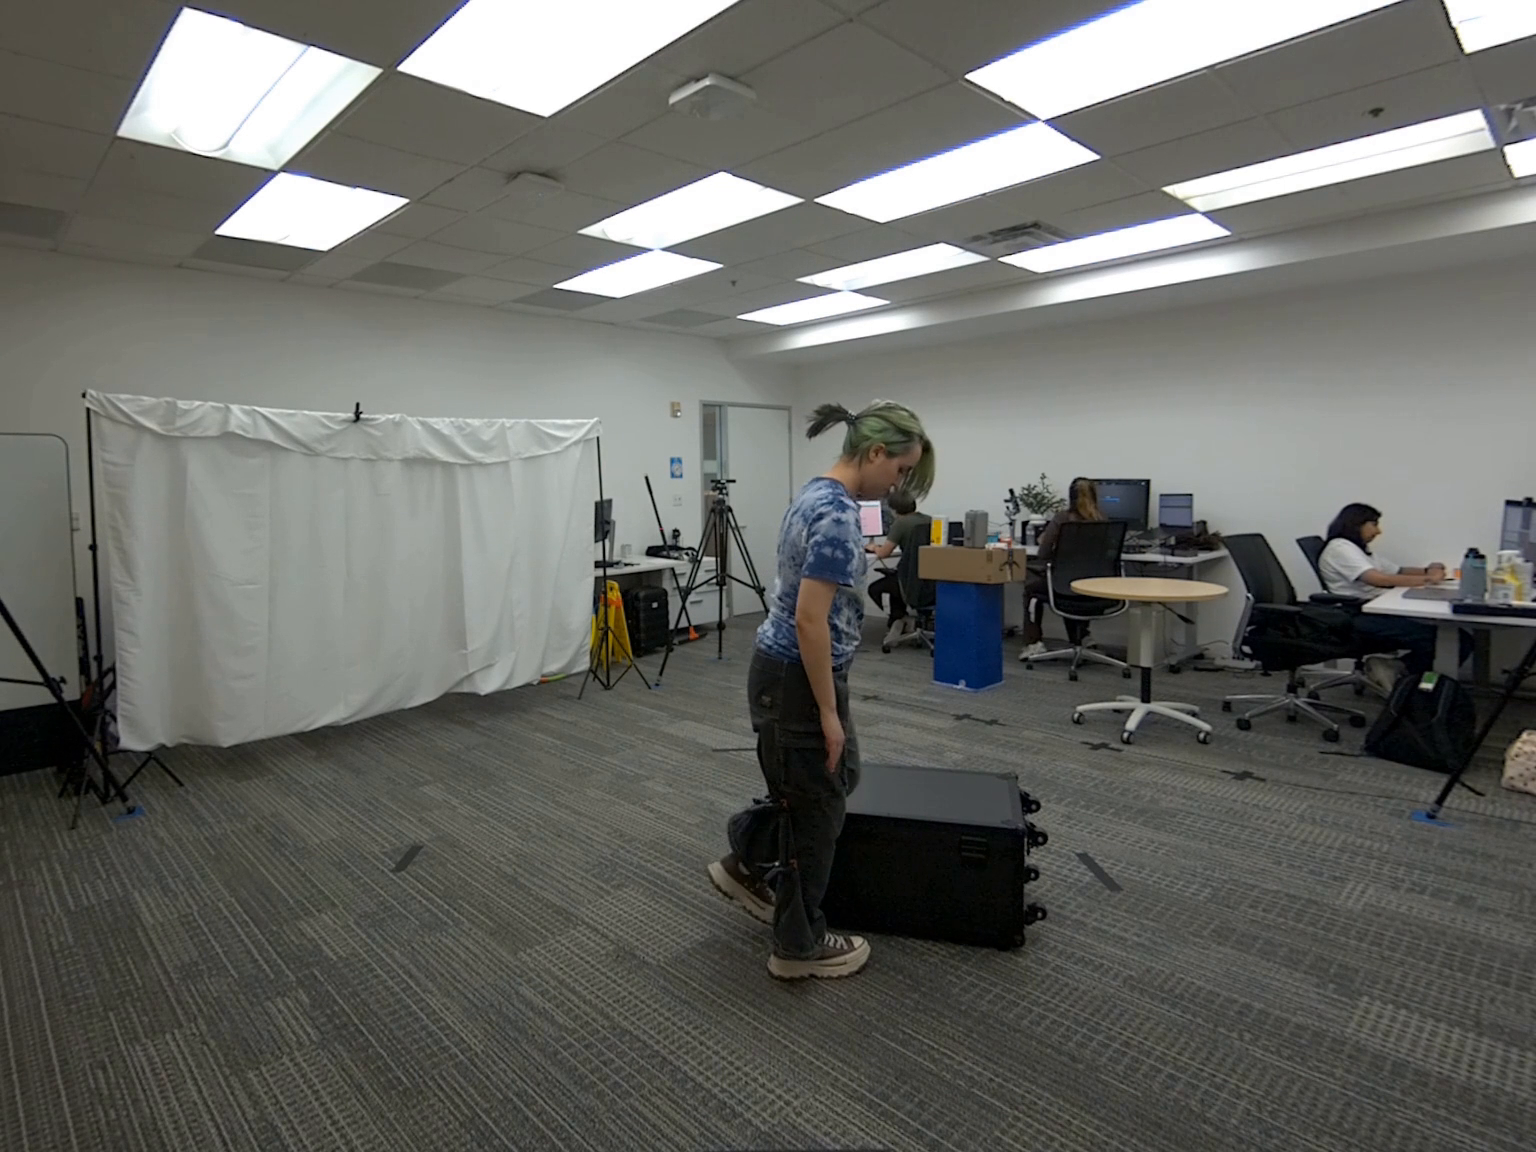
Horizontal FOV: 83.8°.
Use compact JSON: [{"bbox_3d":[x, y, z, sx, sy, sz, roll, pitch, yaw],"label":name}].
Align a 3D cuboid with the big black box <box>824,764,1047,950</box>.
[{"bbox_3d":[0.451,0.879,2.799,0.874,0.395,0.515,0,5,15],"label":"big black box"}]
